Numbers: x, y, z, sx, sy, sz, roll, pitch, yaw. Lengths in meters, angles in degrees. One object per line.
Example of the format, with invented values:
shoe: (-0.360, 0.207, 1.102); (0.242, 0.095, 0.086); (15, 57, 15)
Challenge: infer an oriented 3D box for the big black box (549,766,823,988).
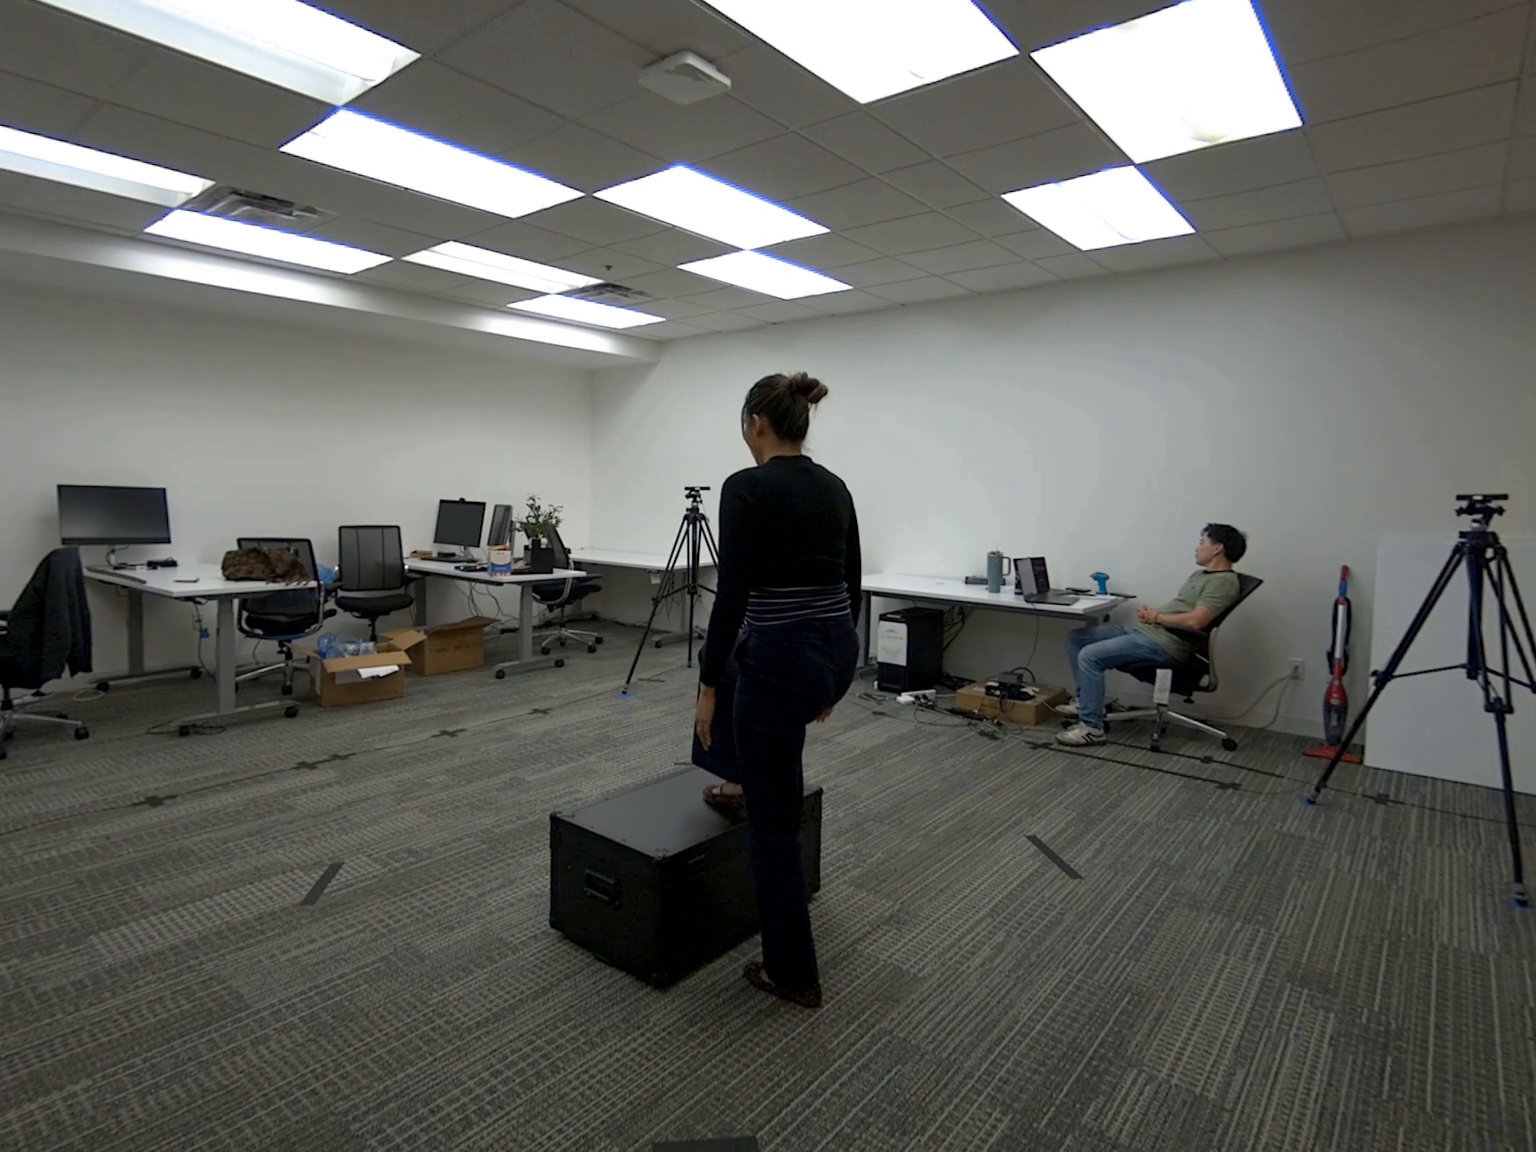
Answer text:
big black box: (-0.275, 0.910, 2.737); (0.538, 0.395, 0.836); (4, 5, 39)
